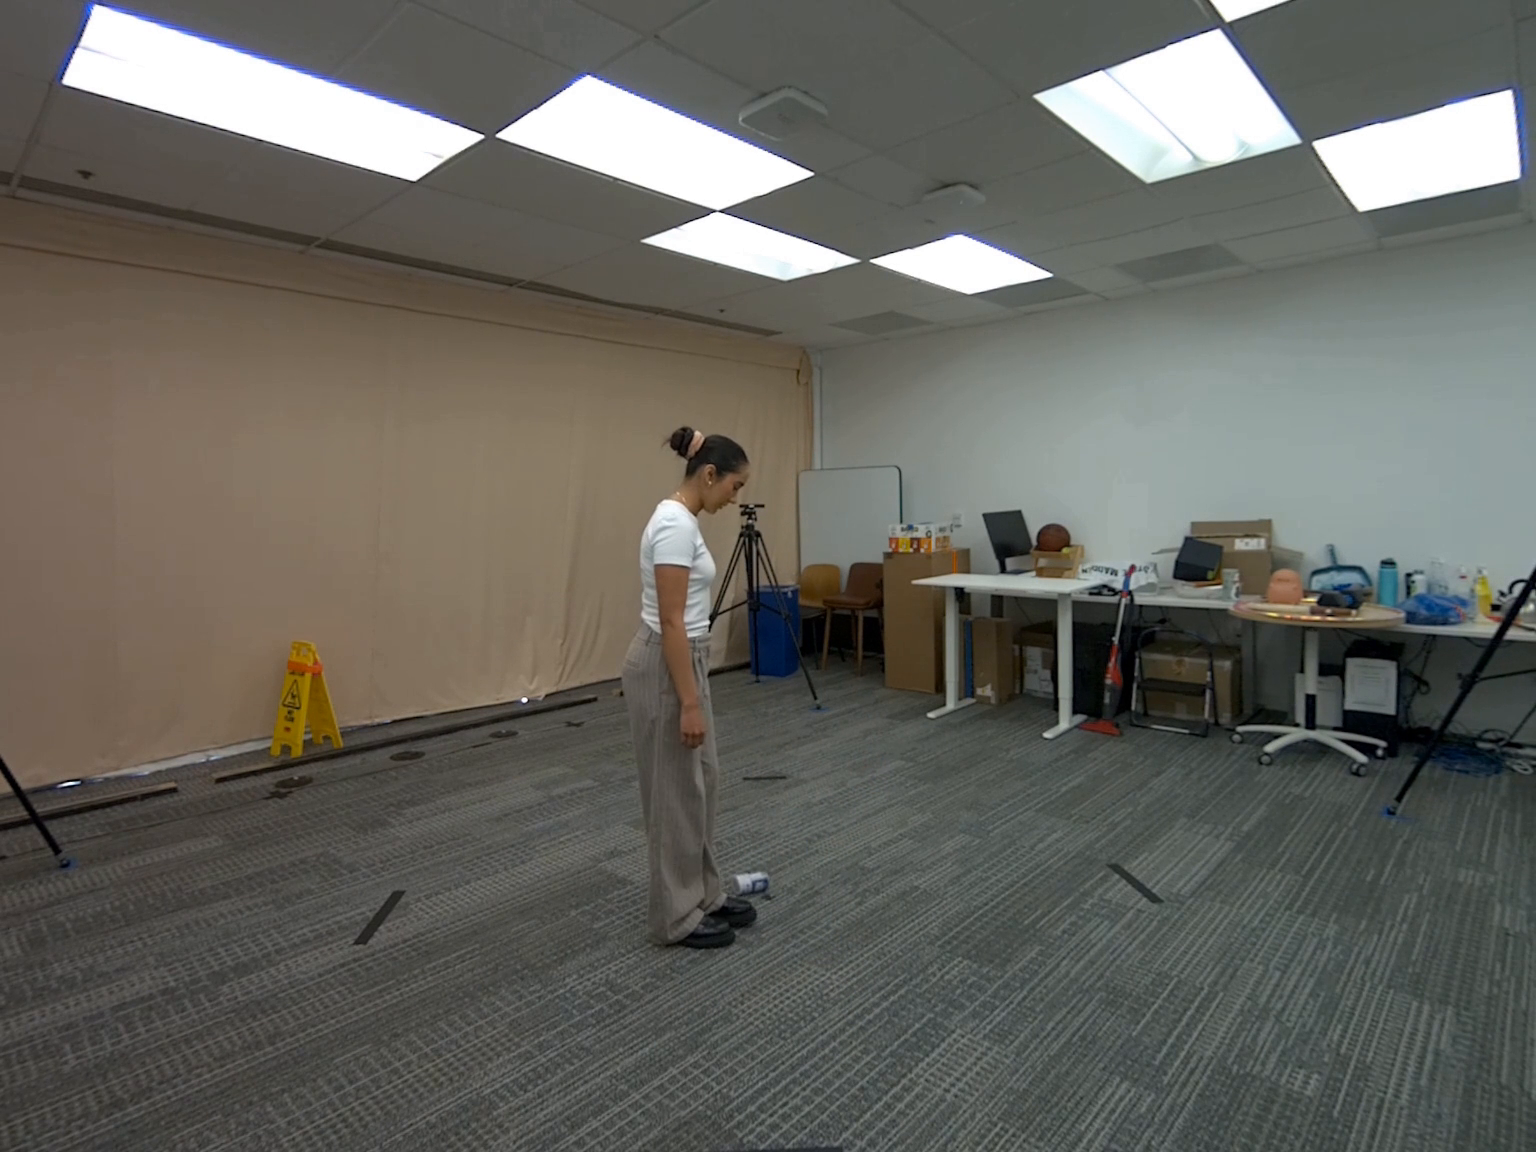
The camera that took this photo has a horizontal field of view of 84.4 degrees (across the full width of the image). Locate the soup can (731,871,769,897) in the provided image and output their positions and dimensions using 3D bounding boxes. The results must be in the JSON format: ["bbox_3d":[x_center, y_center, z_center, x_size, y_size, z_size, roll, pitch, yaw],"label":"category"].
[{"bbox_3d":[-0.061,1.098,3.025,0.119,0.067,0.069,-1,4,-24],"label":"soup can"}]
